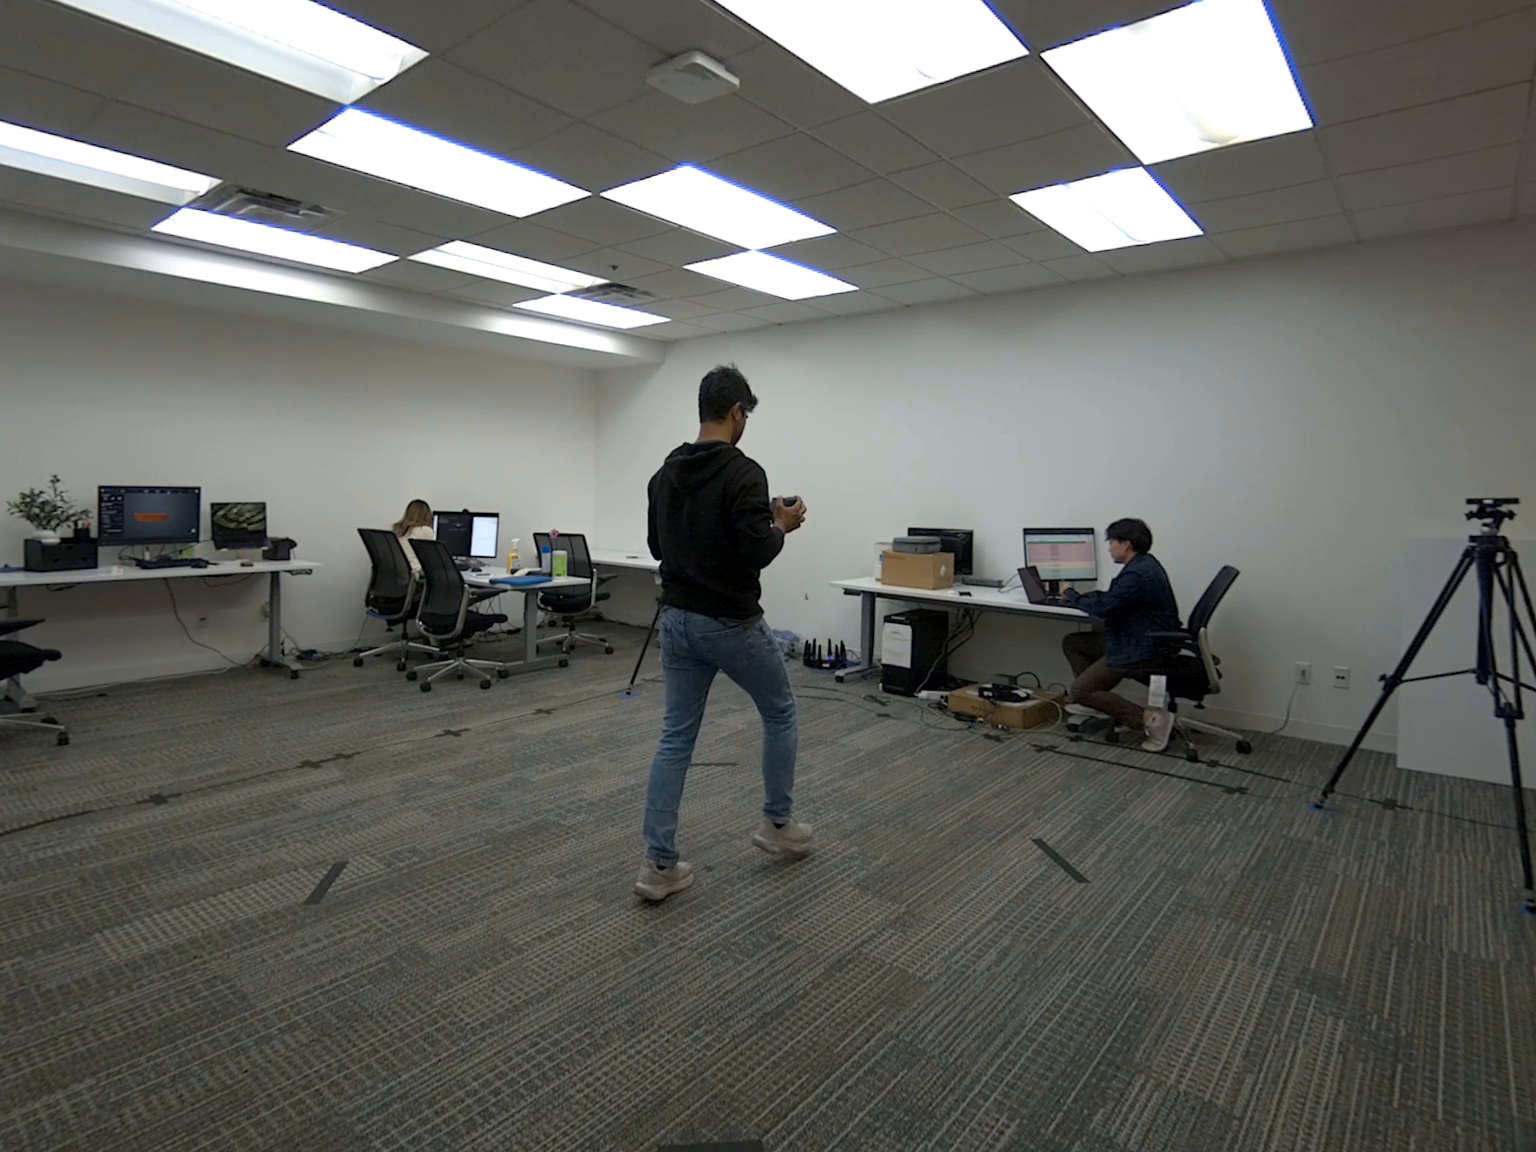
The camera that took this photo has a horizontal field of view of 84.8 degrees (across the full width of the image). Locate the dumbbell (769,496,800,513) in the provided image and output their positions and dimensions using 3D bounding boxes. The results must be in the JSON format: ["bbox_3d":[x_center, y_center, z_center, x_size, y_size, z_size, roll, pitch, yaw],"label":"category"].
[{"bbox_3d":[-0.025,-0.240,3.169,0.104,0.124,0.304,30,-15,-40],"label":"dumbbell"}]
